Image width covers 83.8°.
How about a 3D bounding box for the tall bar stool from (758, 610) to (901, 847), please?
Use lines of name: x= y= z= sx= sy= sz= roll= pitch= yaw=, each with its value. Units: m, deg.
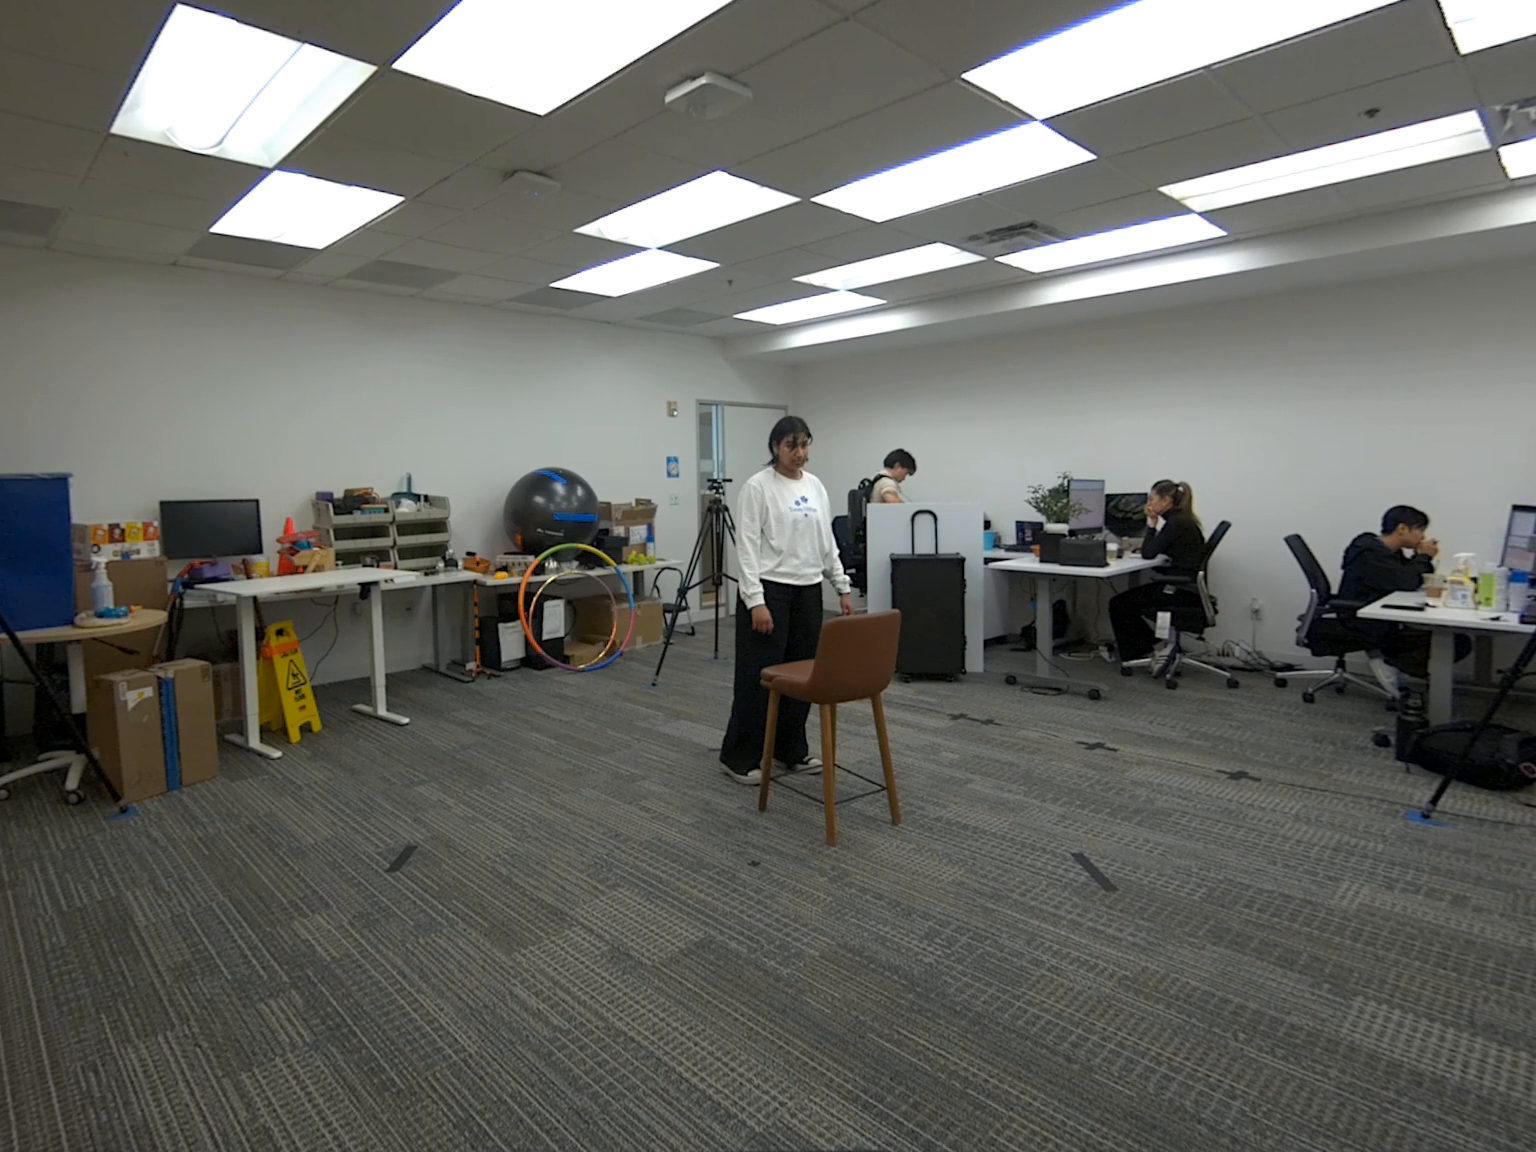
tall bar stool: x=0.252 y=0.565 z=3.509 sx=0.445 sy=0.886 sz=0.482 roll=-3 pitch=6 yaw=-36
